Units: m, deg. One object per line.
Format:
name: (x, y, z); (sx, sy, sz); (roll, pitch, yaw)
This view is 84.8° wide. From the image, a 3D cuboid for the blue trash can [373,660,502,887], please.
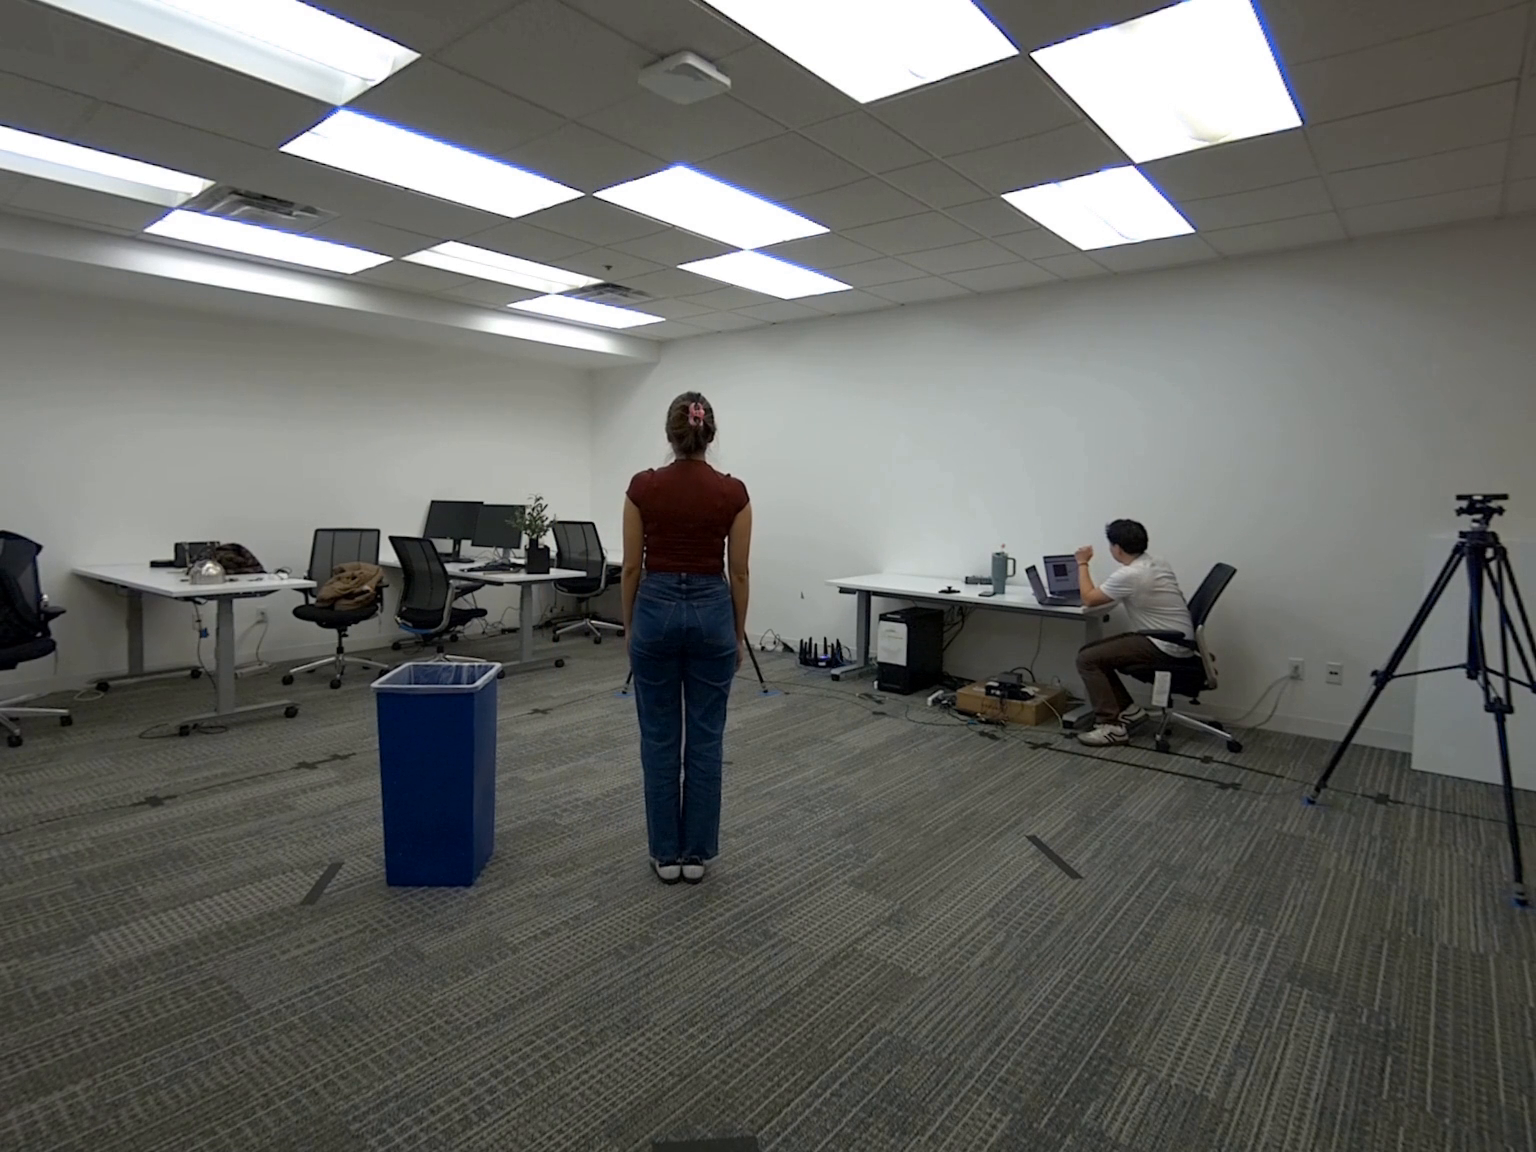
blue trash can: (-1.190, 0.705, 3.062); (0.377, 0.711, 0.376); (0, 3, -3)
